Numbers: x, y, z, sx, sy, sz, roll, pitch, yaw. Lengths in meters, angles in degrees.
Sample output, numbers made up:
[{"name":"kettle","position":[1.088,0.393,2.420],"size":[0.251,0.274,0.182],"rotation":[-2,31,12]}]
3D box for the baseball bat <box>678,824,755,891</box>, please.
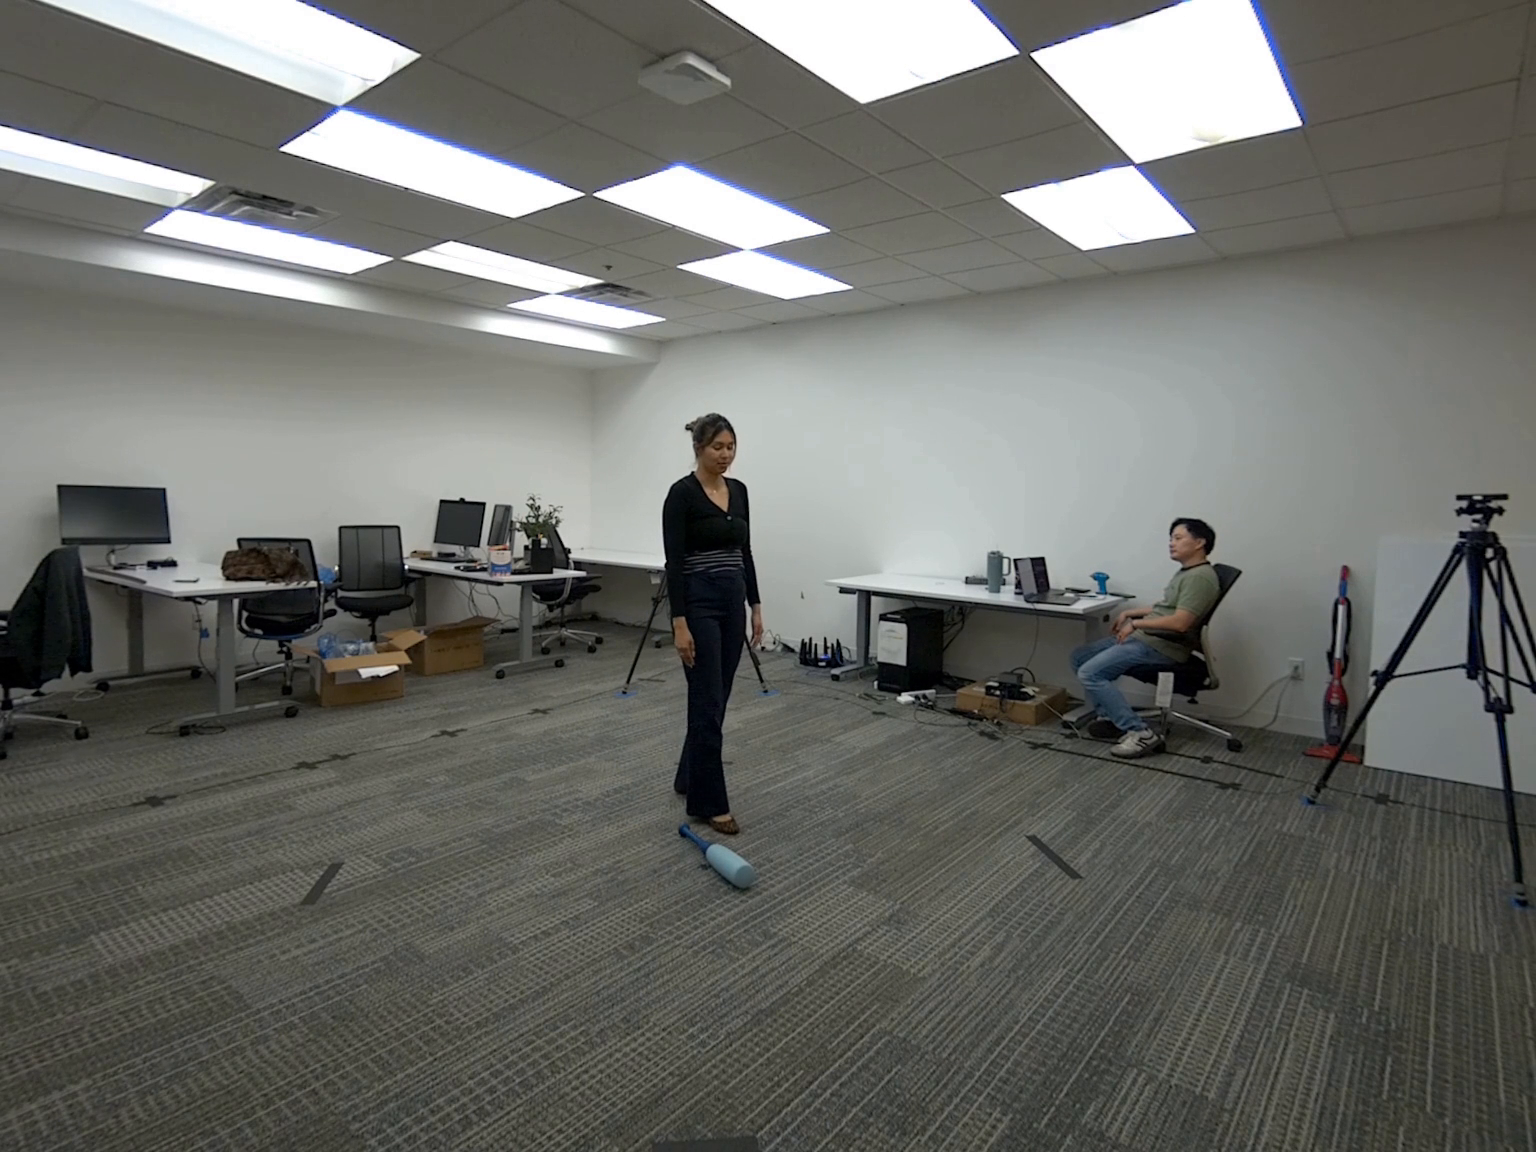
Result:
[{"name":"baseball bat","position":[-0.220,1.027,3.162],"size":[0.087,0.089,0.557],"rotation":[-1,2,-28]}]
